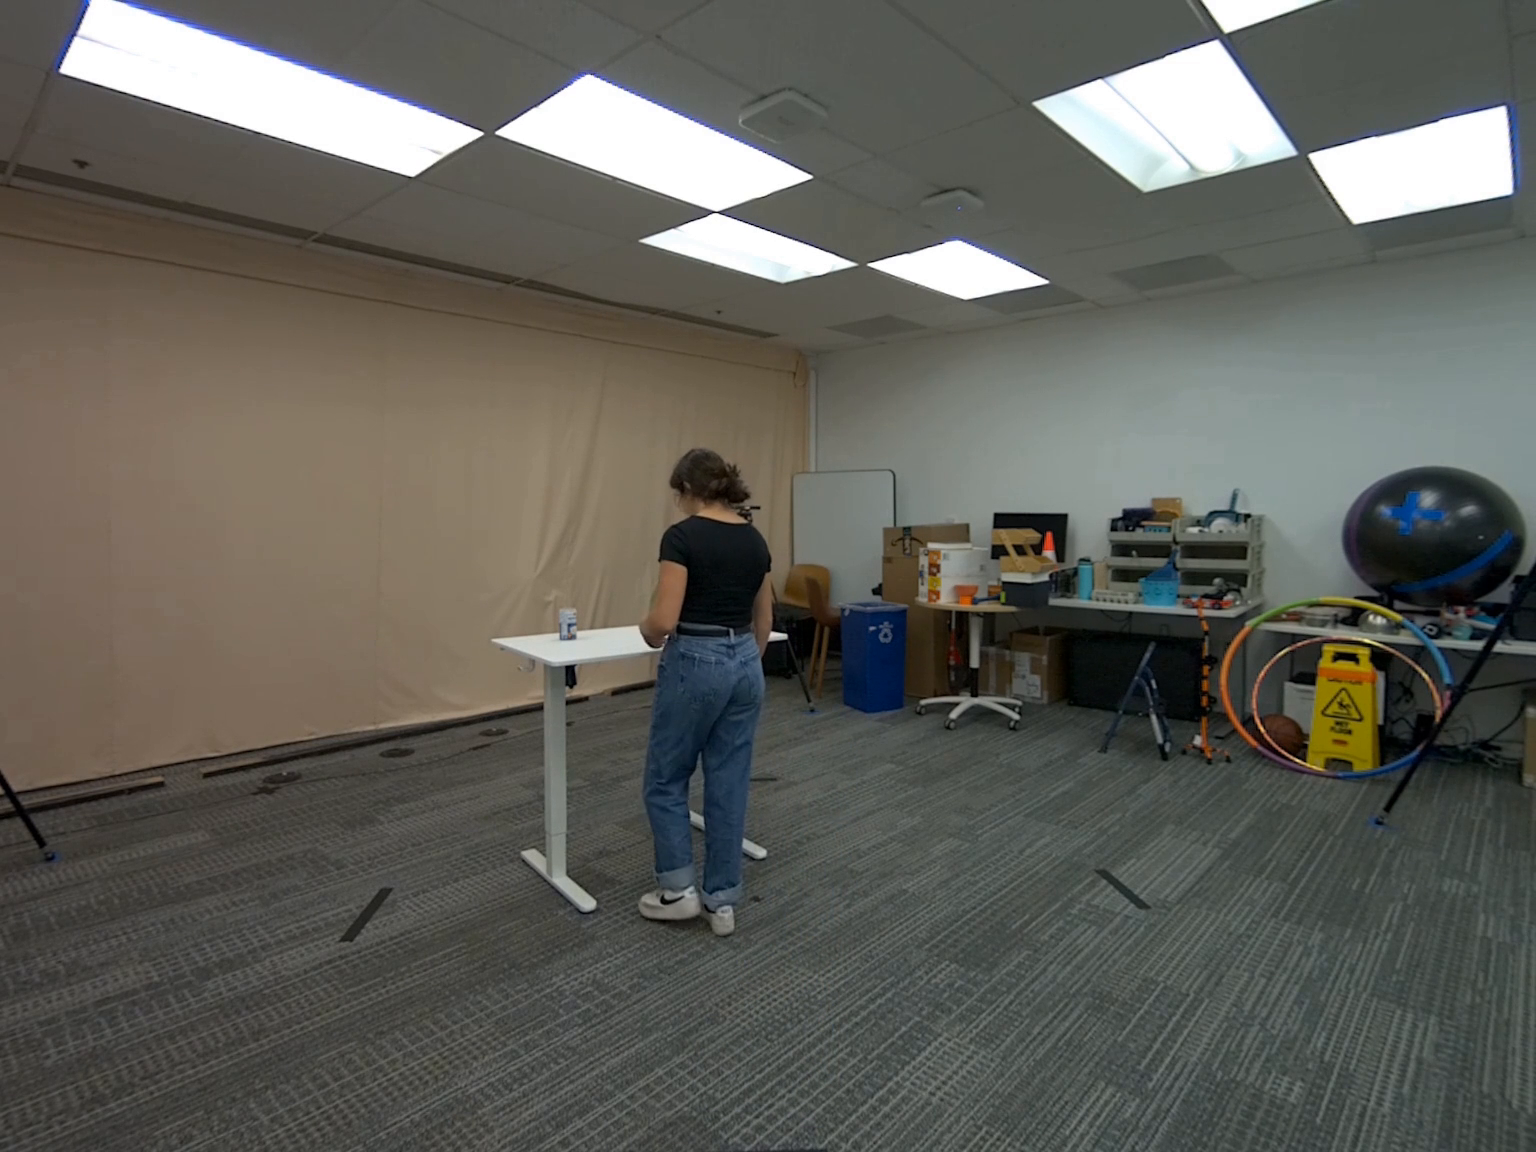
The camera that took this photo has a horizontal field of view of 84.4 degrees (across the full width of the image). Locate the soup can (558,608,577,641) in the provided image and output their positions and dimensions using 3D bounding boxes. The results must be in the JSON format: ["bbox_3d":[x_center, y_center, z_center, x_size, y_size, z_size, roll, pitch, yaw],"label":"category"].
[{"bbox_3d":[-0.779,0.189,3.250,0.067,0.121,0.067,-3,4,-2],"label":"soup can"}]
